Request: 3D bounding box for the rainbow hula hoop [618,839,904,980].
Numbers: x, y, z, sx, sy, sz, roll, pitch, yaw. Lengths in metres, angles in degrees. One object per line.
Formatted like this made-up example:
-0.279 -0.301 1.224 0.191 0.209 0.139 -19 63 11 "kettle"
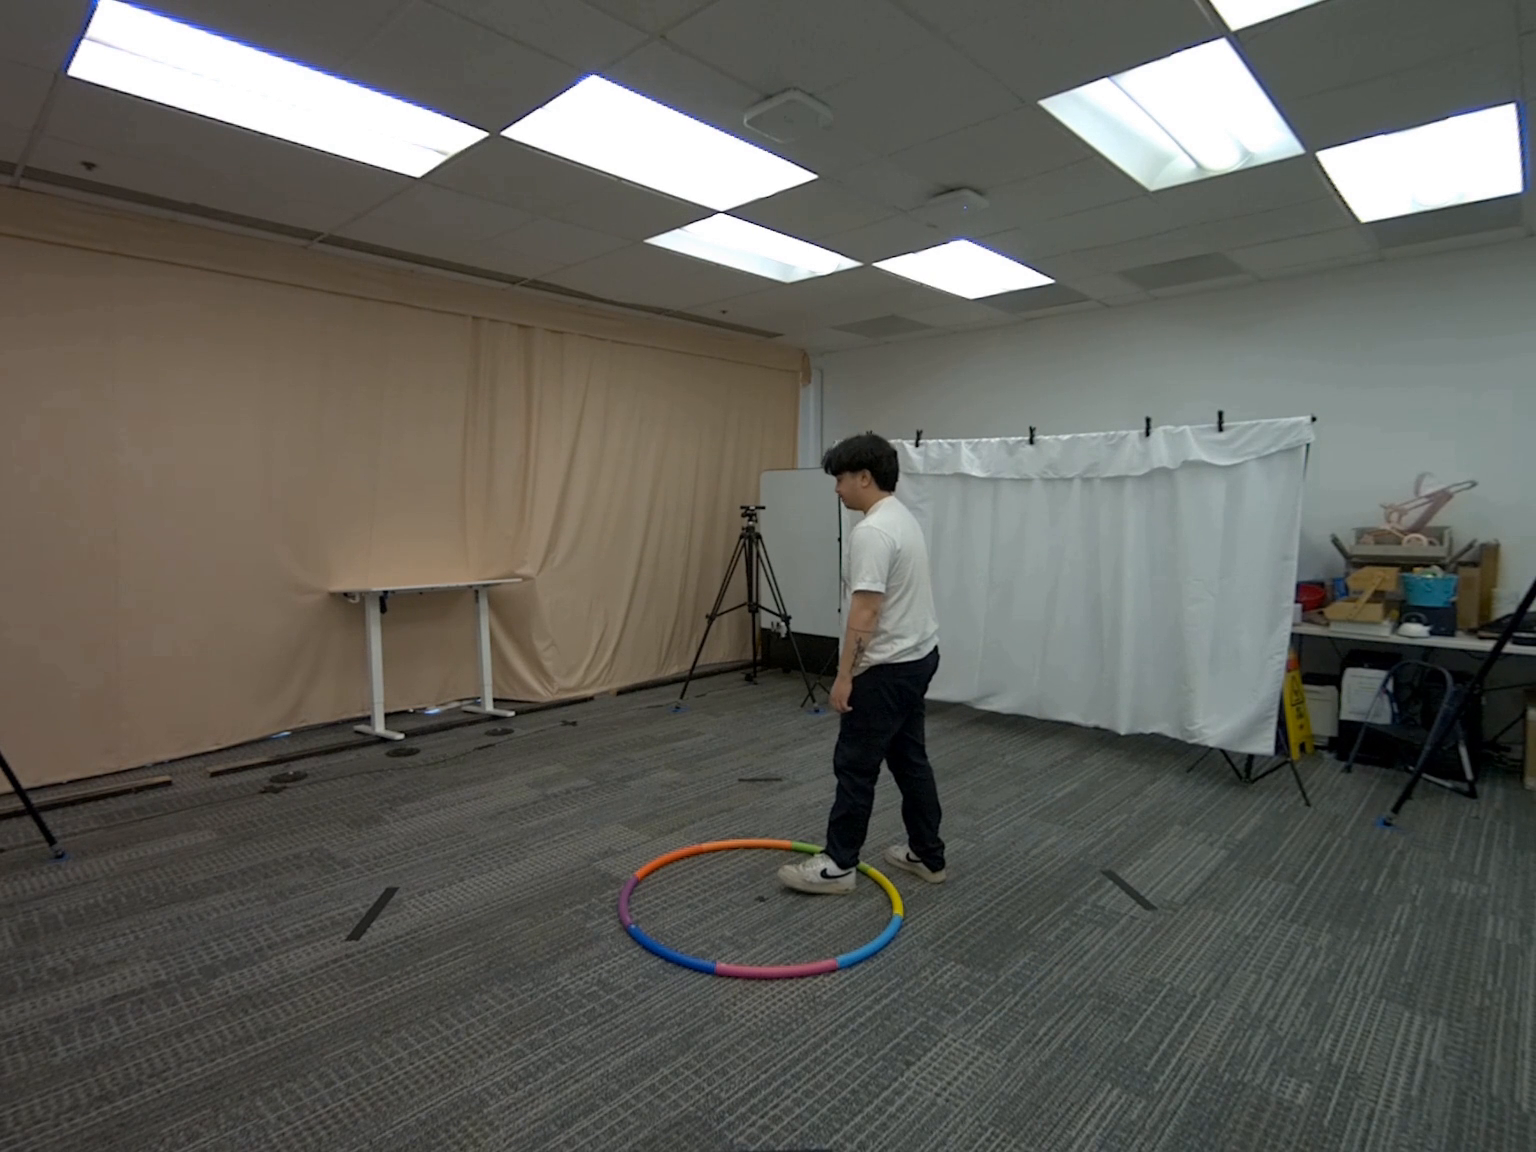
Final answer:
-0.027 1.124 2.954 0.985 0.051 0.989 0 5 -2 "rainbow hula hoop"
